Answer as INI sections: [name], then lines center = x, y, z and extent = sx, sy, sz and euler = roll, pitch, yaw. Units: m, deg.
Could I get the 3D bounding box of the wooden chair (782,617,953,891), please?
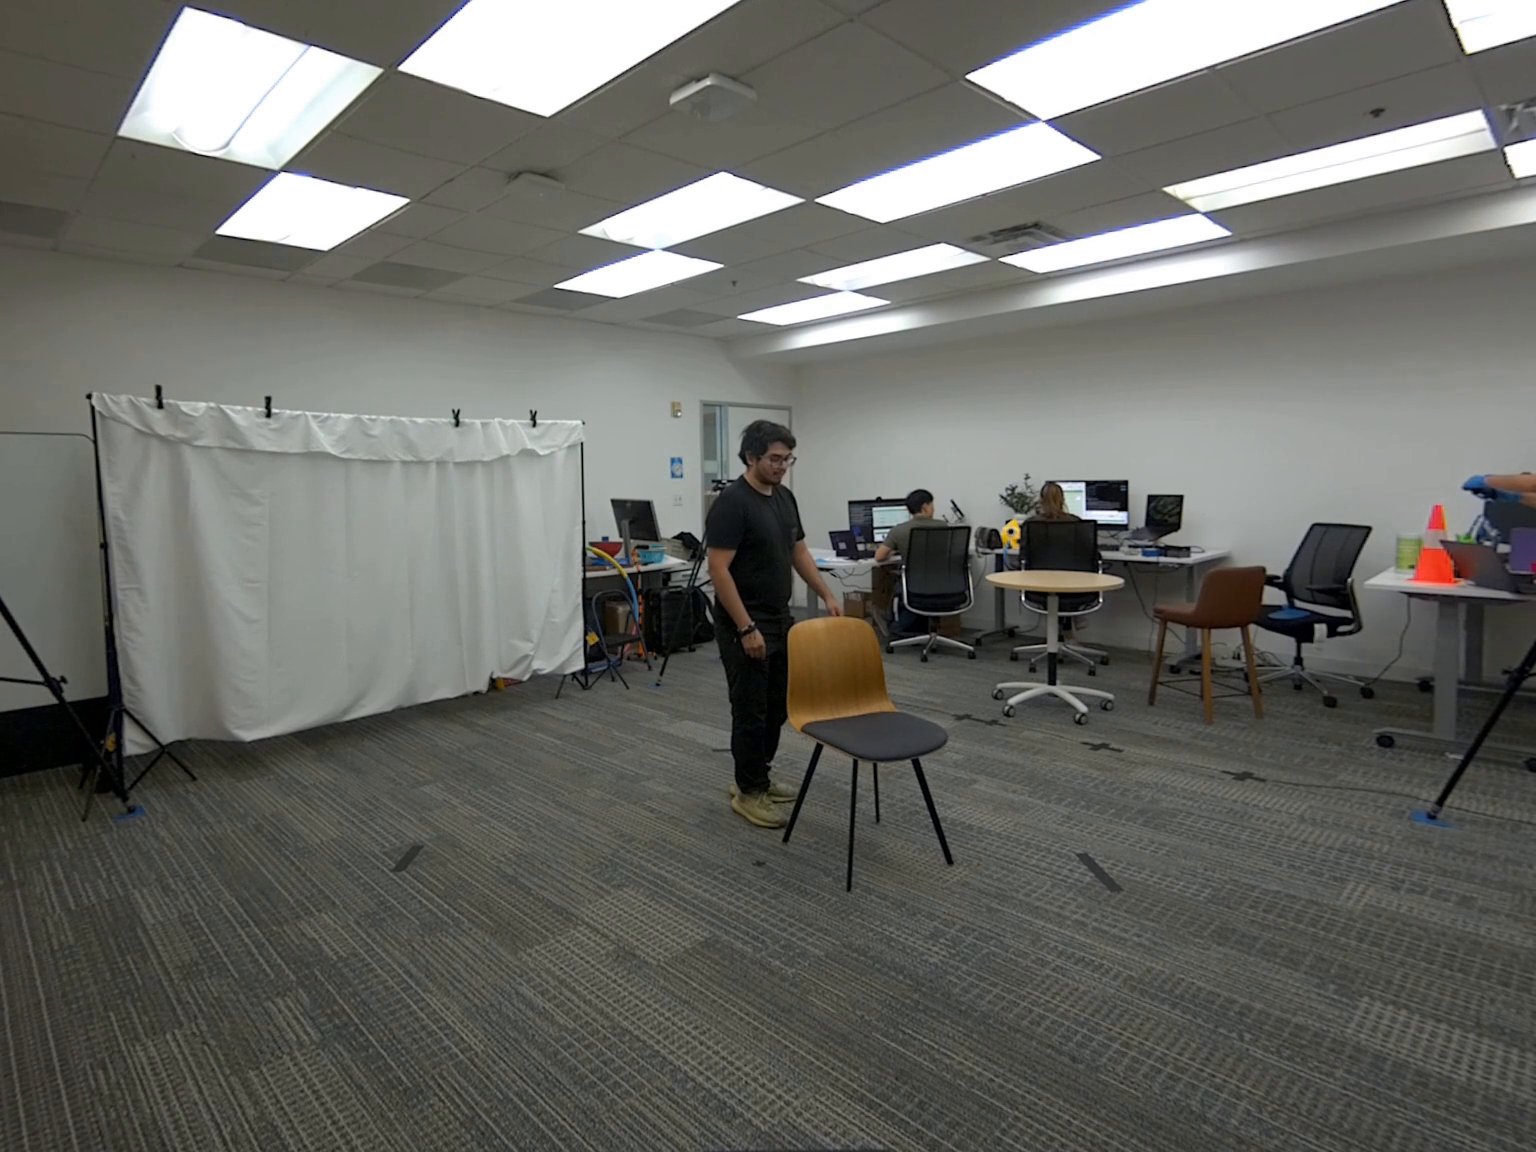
[wooden chair]
center = 0.359, 0.610, 3.144
extent = 0.467, 0.878, 0.535
euler = -2, 0, -27
